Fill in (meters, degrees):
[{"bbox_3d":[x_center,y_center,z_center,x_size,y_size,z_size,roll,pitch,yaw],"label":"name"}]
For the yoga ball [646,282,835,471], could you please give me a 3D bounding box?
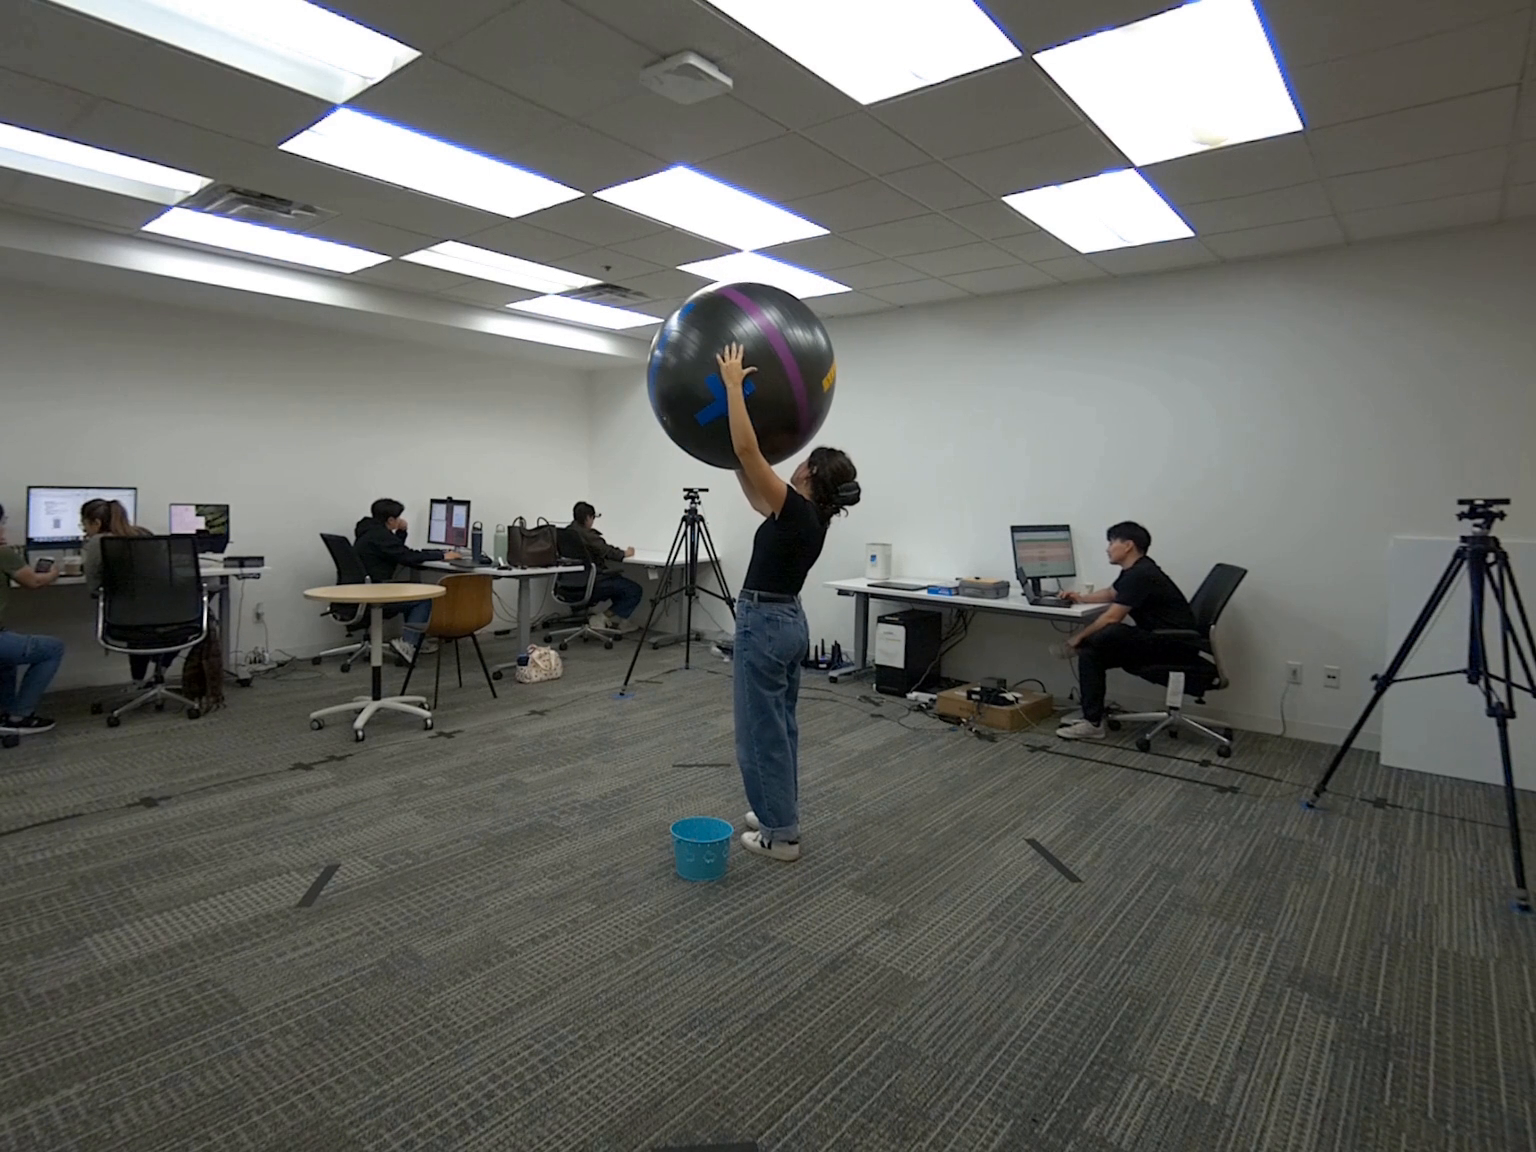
[{"bbox_3d":[-0.119,-0.800,3.428,0.757,0.756,0.762,1,4,-2],"label":"yoga ball"}]
